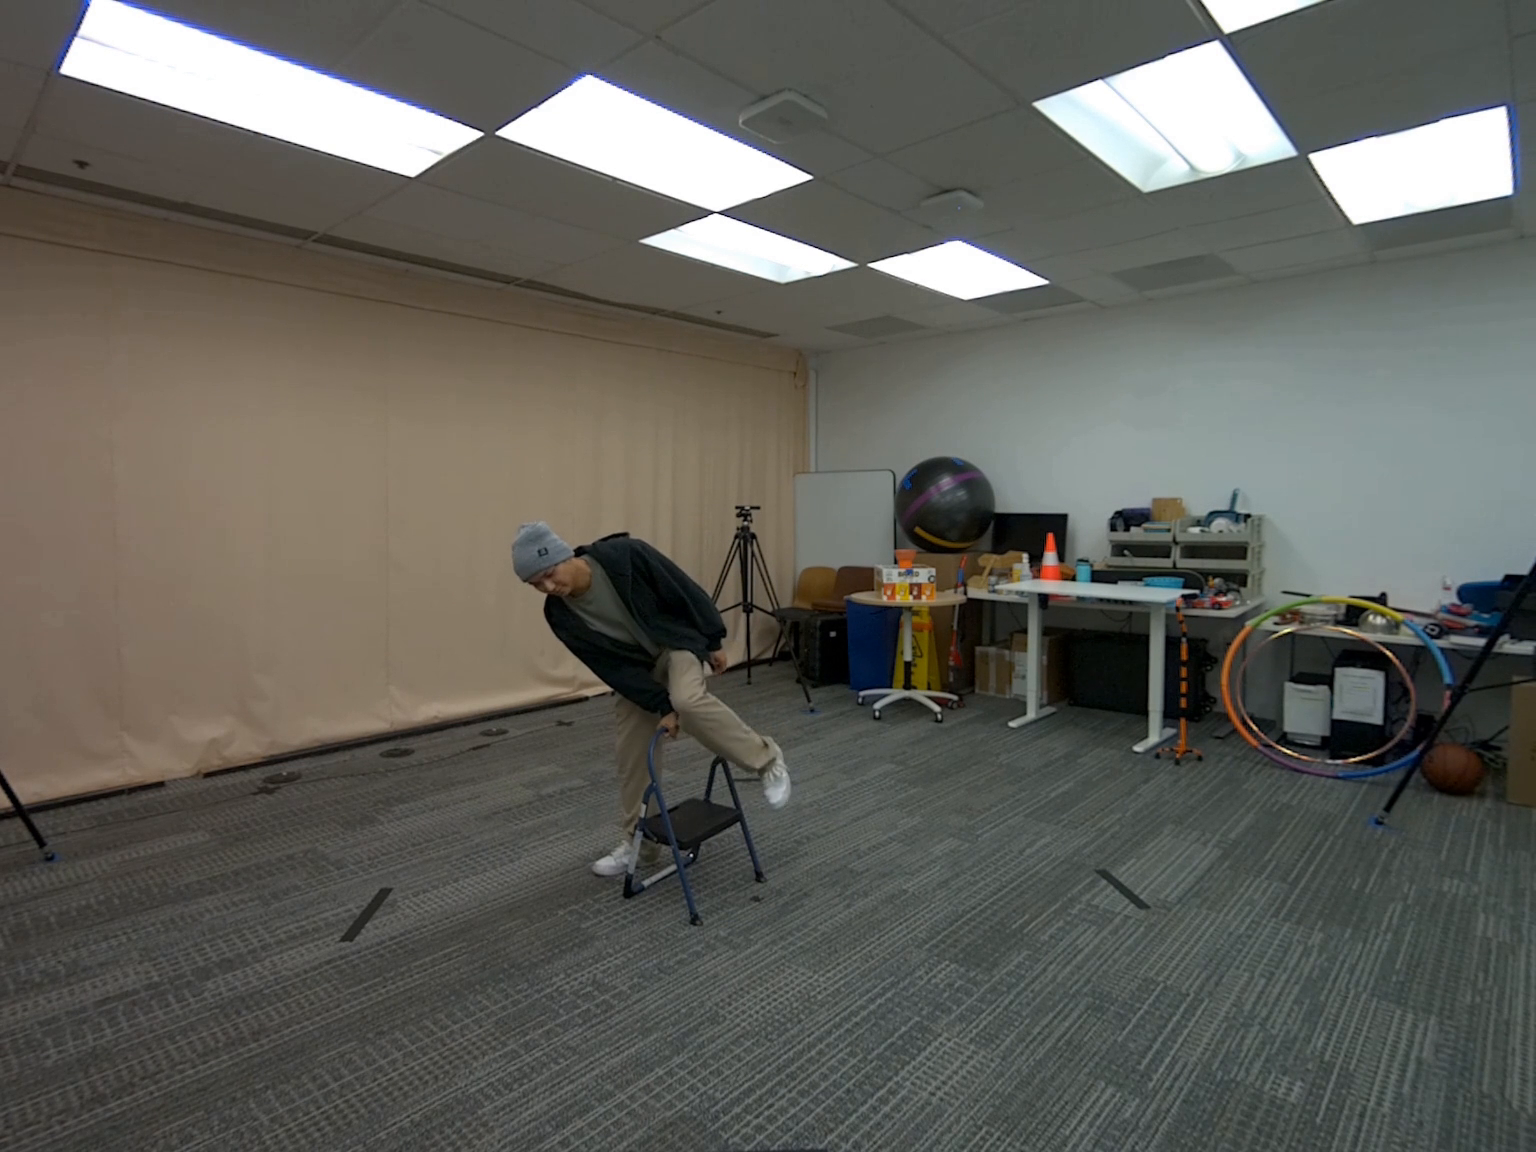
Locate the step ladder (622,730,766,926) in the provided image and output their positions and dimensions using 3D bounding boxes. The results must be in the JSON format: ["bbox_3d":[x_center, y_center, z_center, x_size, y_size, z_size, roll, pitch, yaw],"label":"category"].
[{"bbox_3d":[-0.262,0.838,3.046,0.360,0.605,0.418,2,4,34],"label":"step ladder"}]
